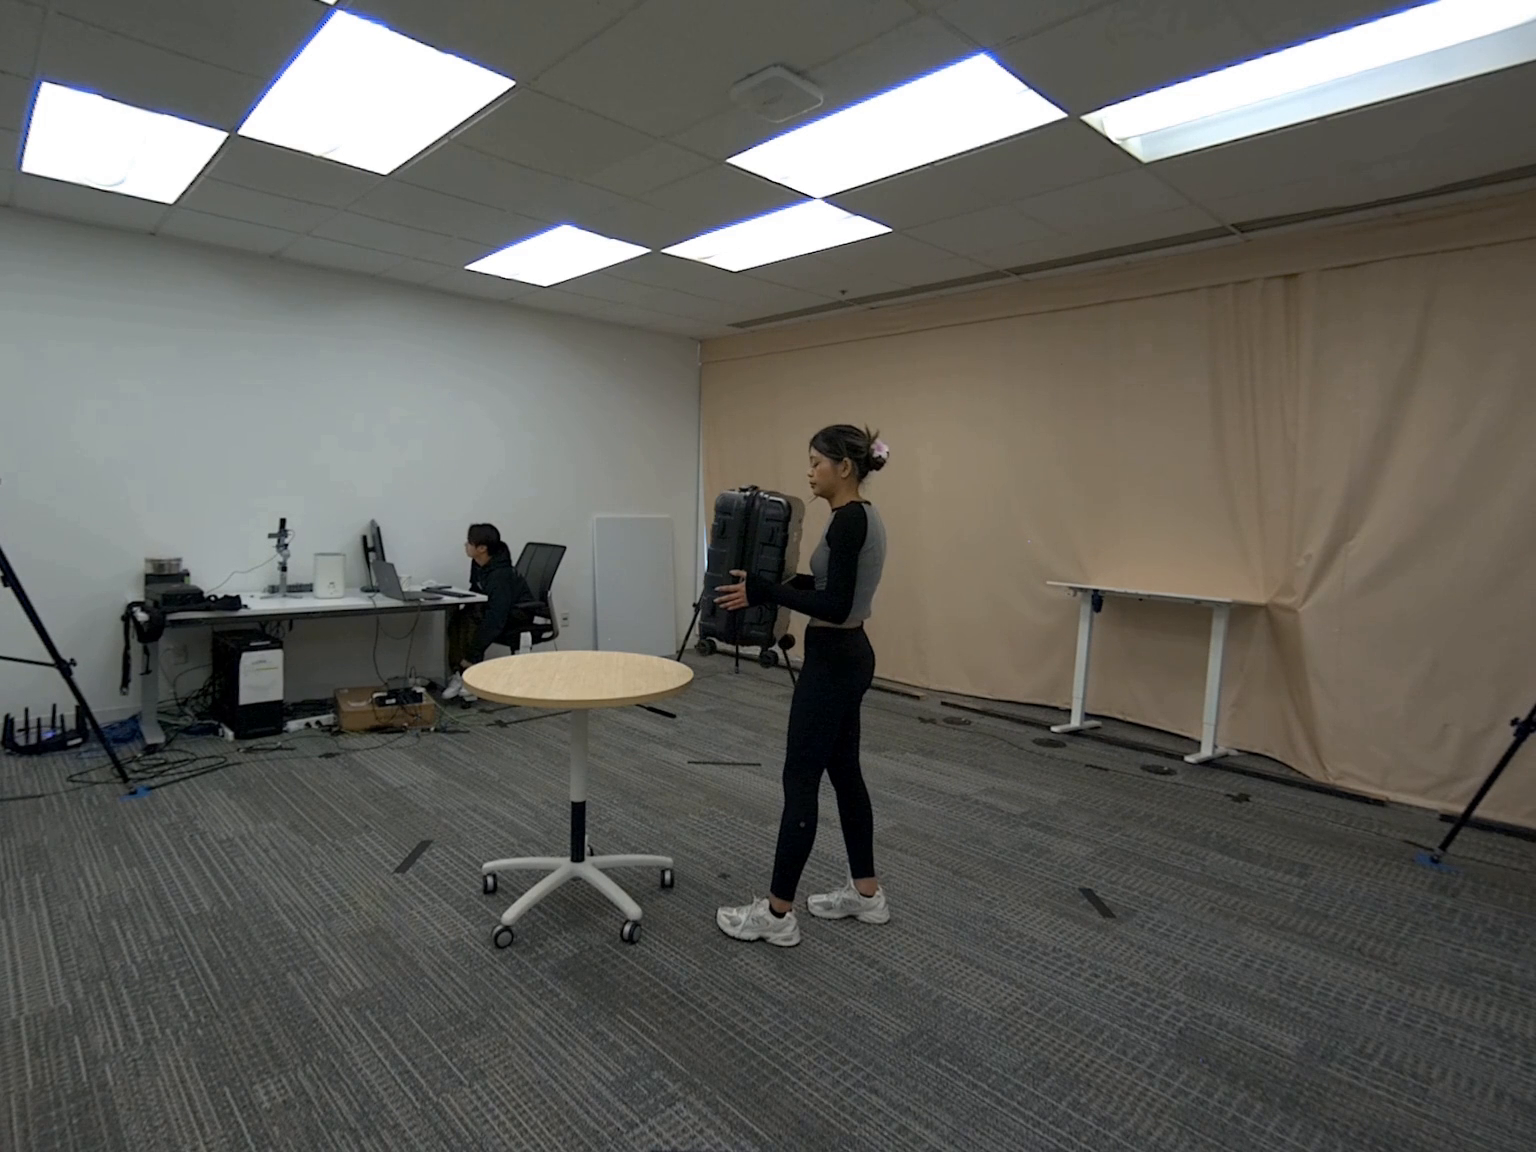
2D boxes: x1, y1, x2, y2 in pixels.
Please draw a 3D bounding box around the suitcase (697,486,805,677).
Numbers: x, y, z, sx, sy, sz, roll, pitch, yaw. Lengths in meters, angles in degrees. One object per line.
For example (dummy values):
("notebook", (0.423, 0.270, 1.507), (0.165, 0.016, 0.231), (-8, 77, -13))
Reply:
("suitcase", (-0.055, -0.022, 2.803), (0.252, 0.547, 0.372), (9, 6, 14))
